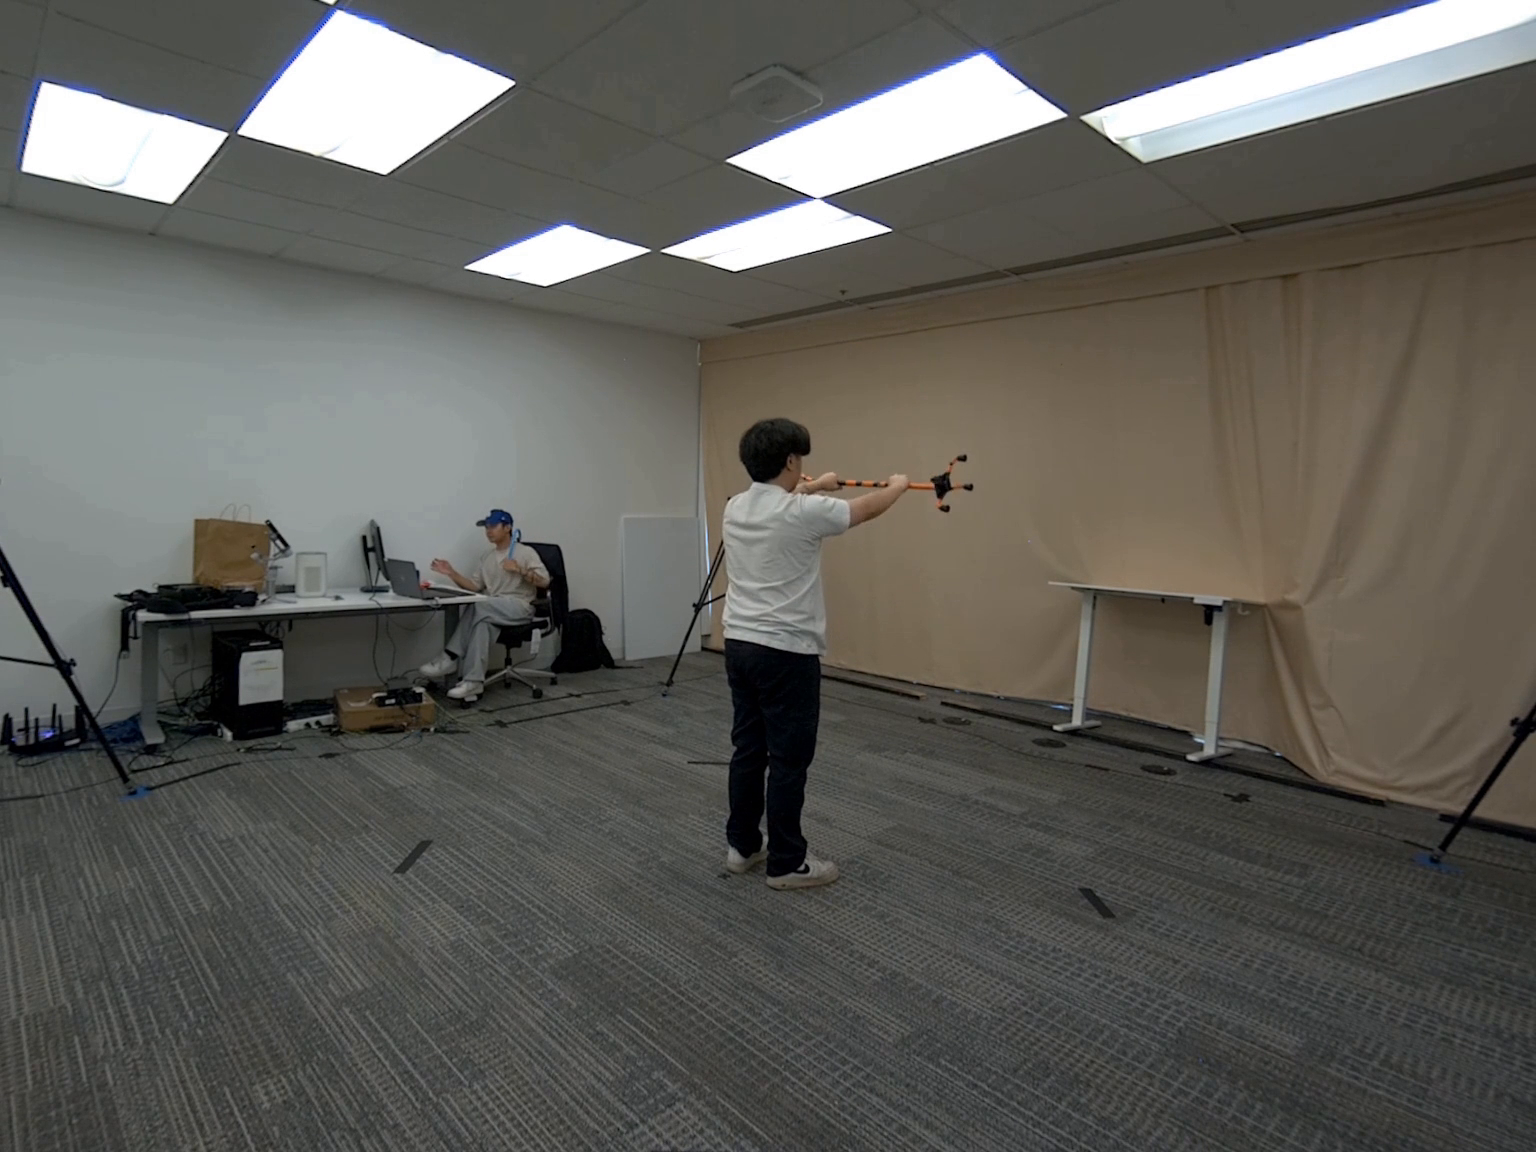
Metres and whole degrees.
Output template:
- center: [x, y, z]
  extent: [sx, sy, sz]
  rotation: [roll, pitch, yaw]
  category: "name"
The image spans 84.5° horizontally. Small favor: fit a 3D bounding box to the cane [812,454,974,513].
- center: [0.367, -0.390, 3.461]
  extent: [0.932, 0.148, 0.205]
  rotation: [8, 36, 45]
  category: "cane"
